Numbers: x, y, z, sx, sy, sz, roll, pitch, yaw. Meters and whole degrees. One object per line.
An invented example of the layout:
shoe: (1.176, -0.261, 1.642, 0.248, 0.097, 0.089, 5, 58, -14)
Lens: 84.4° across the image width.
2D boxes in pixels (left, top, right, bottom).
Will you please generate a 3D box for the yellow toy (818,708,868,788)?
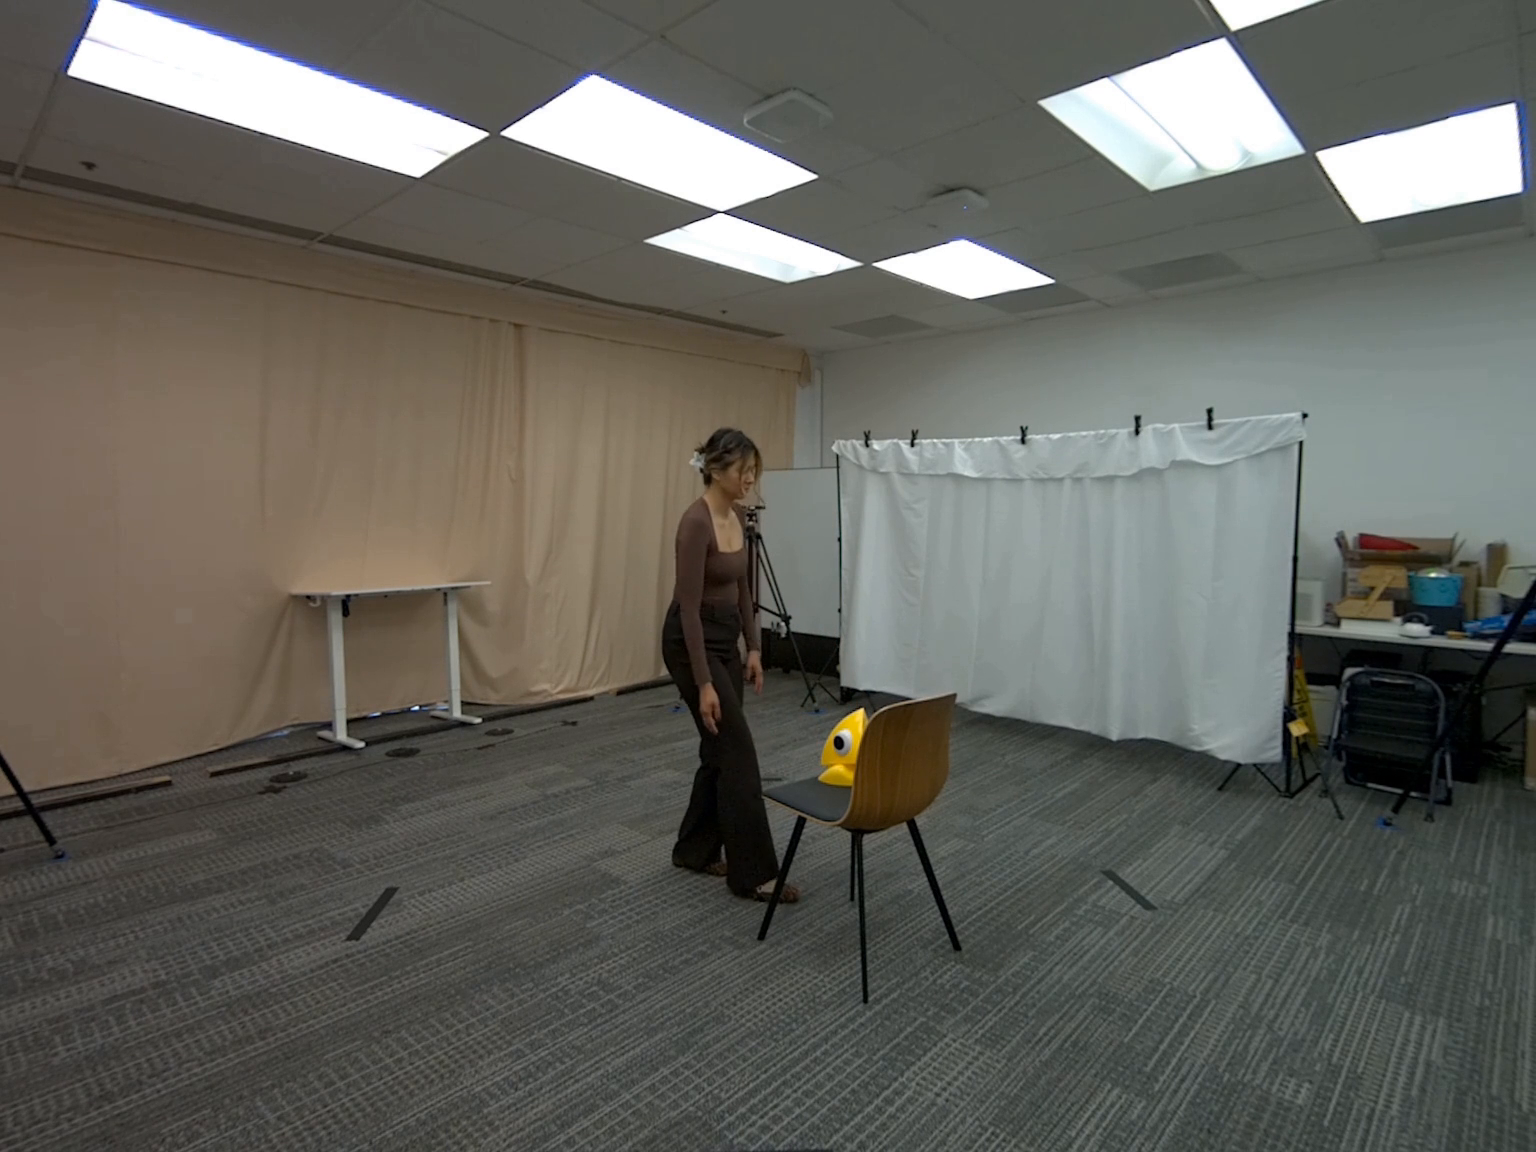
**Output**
yellow toy: (0.269, 0.557, 2.822, 0.197, 0.229, 0.201, -1, 8, 20)
